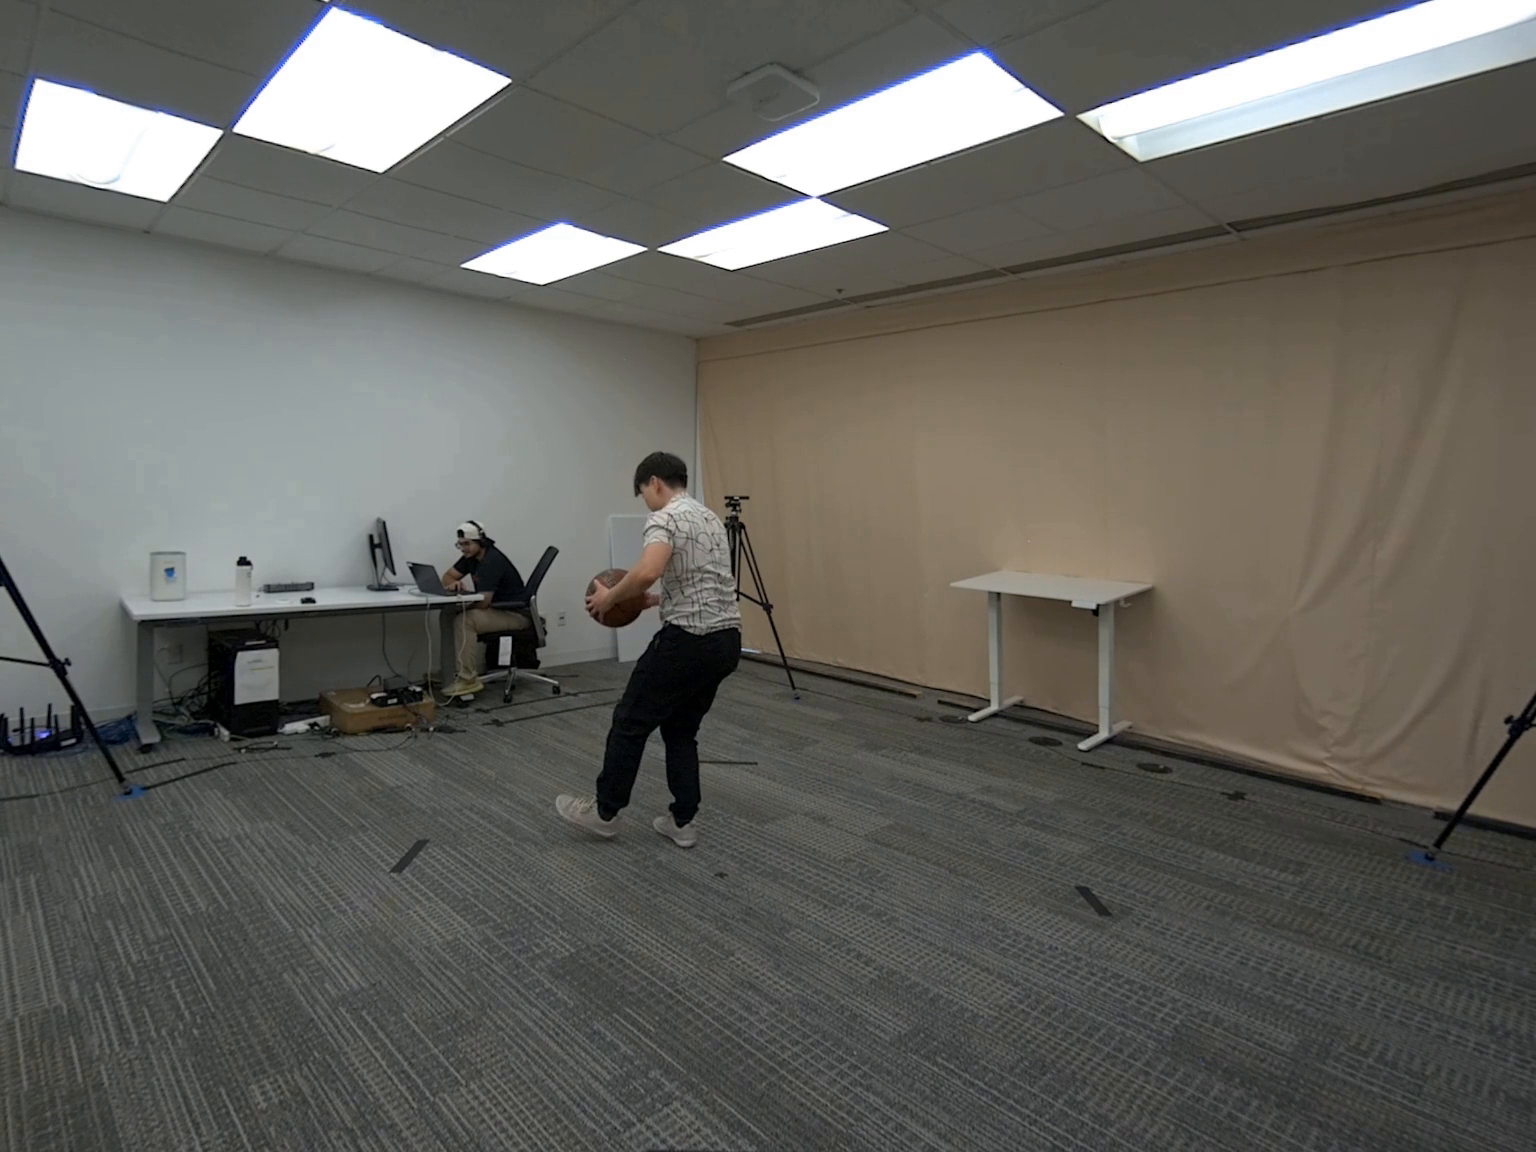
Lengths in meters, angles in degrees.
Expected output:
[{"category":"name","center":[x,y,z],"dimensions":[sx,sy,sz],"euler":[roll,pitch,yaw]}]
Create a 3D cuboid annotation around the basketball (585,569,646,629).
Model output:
[{"category":"basketball","center":[-0.622,0.103,3.401],"dimensions":[0.236,0.235,0.237],"euler":[1,4,-1]}]
